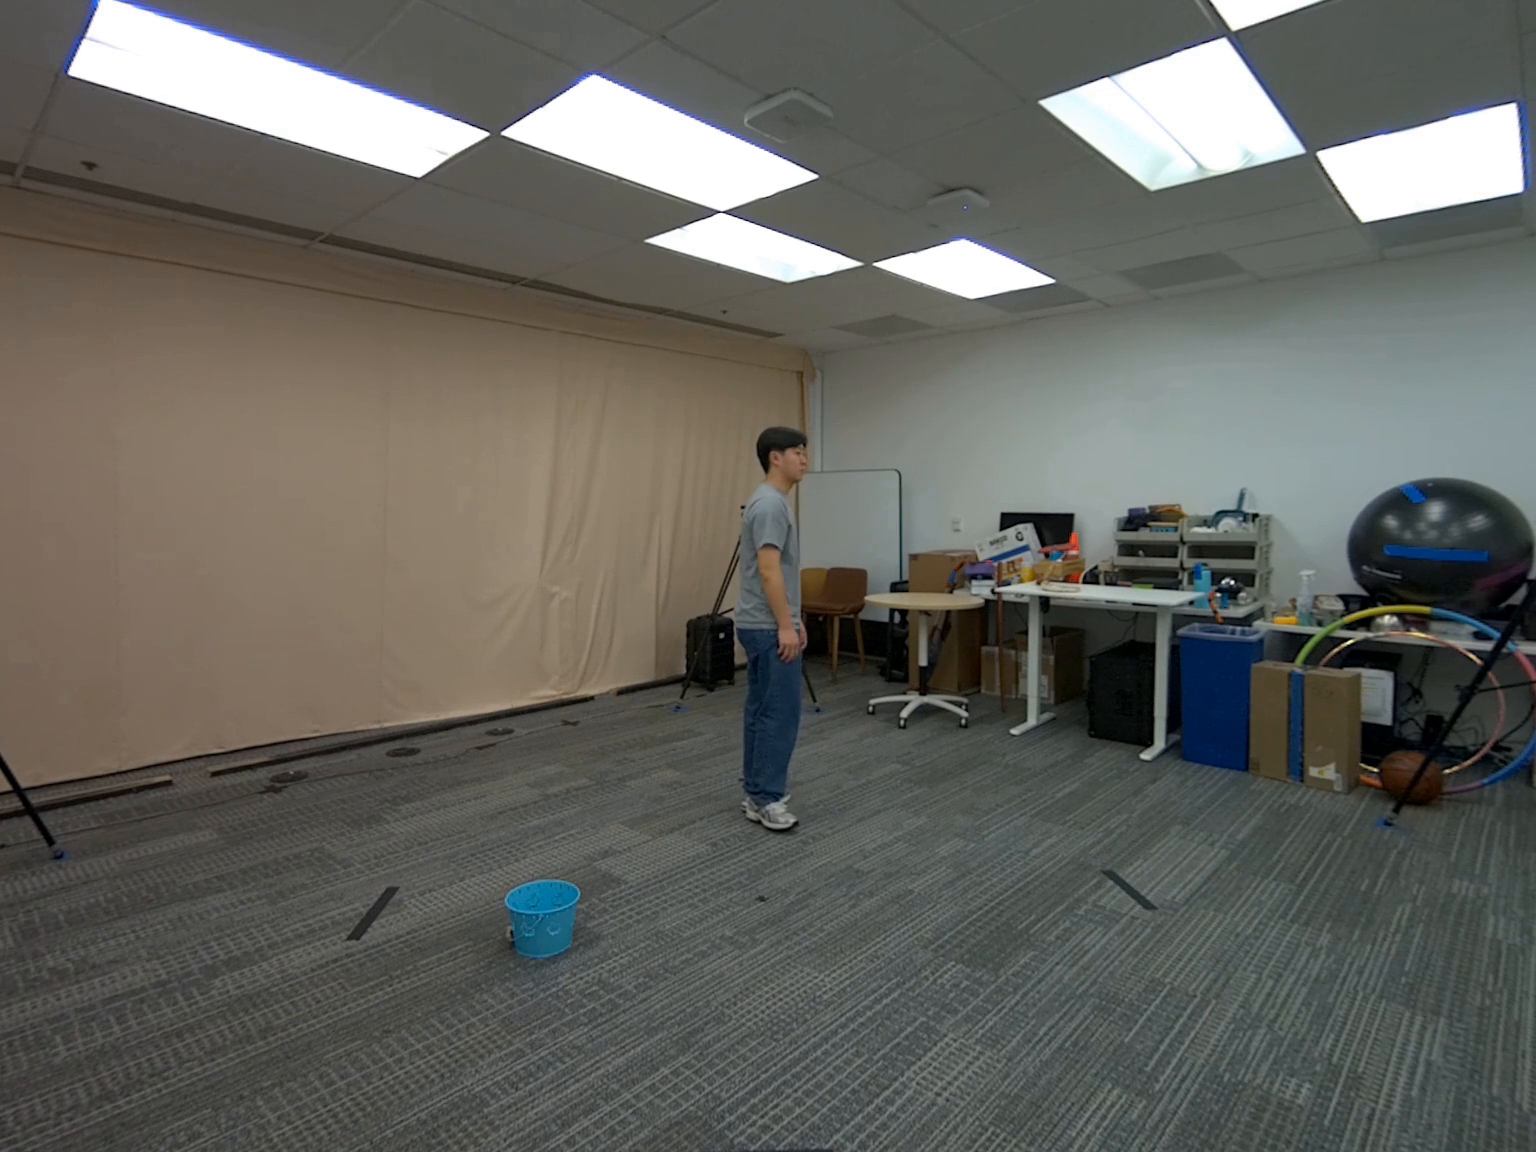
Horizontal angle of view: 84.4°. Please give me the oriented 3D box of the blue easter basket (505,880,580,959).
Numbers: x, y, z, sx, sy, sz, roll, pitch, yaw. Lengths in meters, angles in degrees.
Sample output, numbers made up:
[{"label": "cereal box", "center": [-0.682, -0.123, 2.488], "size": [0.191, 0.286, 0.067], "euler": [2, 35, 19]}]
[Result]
[{"label": "blue easter basket", "center": [-0.721, 1.097, 2.689], "size": [0.243, 0.155, 0.244], "euler": [0, 4, -2]}]
